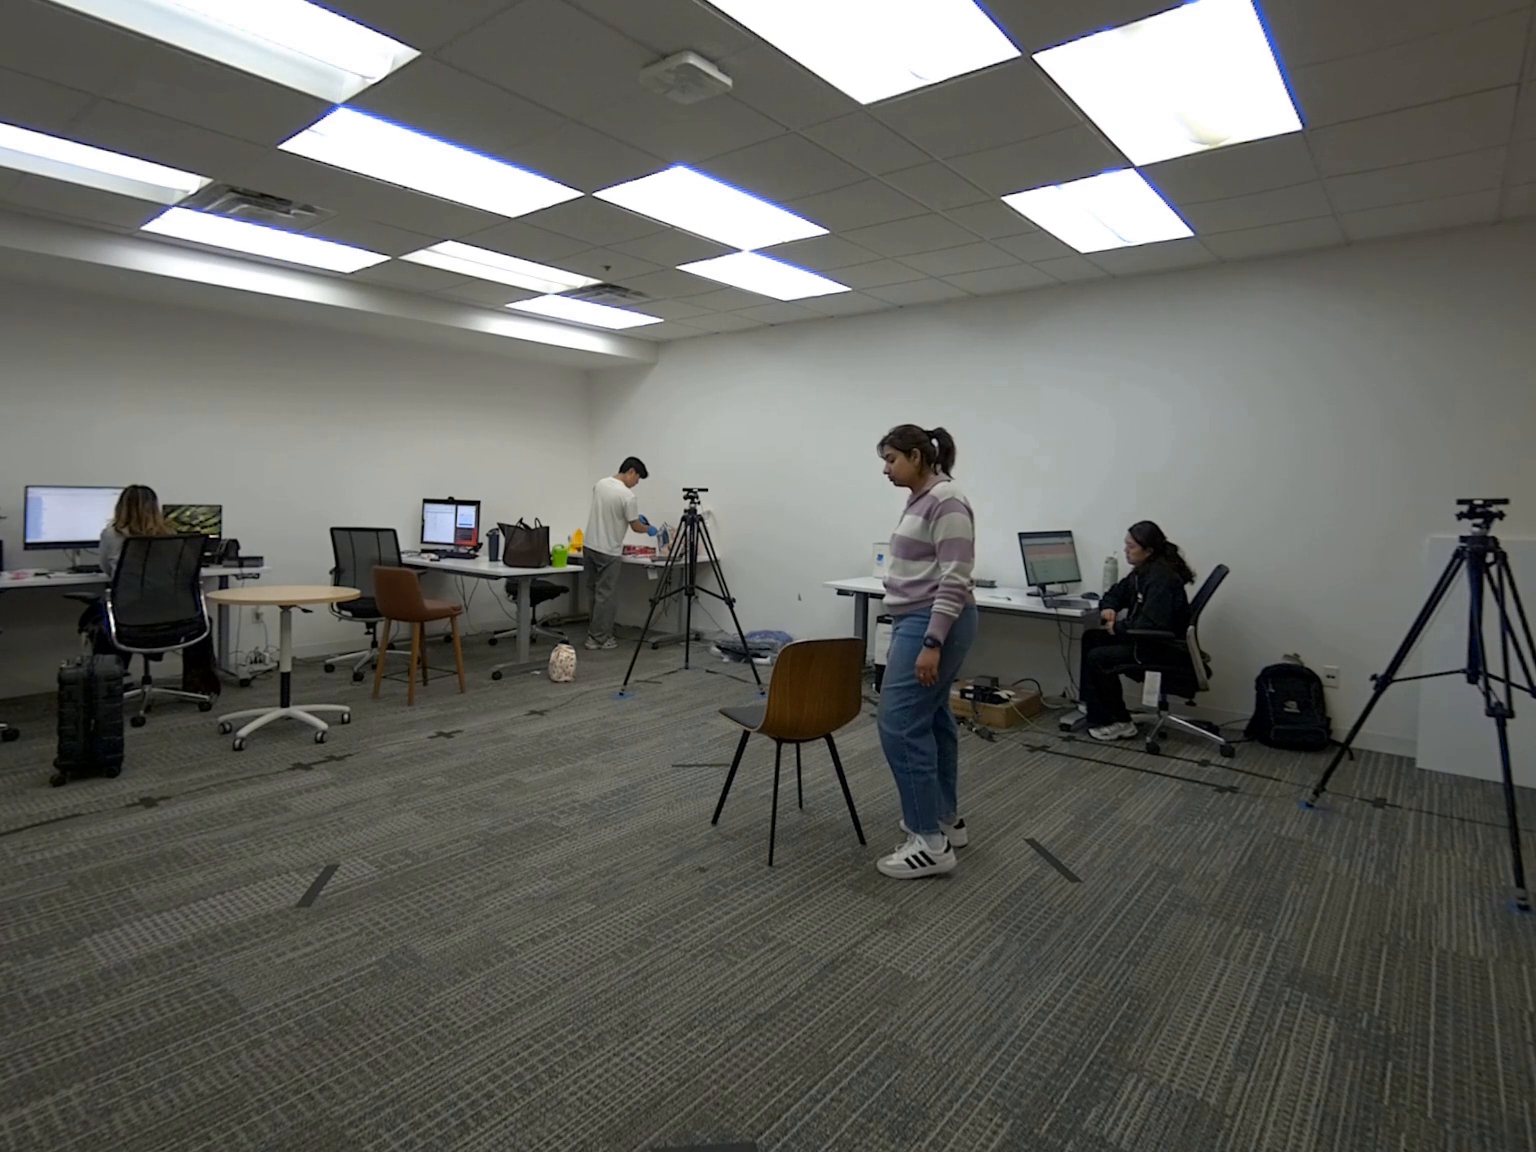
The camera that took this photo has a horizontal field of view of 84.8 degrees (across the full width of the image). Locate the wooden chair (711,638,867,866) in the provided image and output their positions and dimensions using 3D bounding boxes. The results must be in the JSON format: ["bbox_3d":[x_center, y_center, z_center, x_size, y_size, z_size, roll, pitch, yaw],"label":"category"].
[{"bbox_3d":[0.072,0.618,3.427,0.465,0.872,0.541,0,8,-31],"label":"wooden chair"}]
